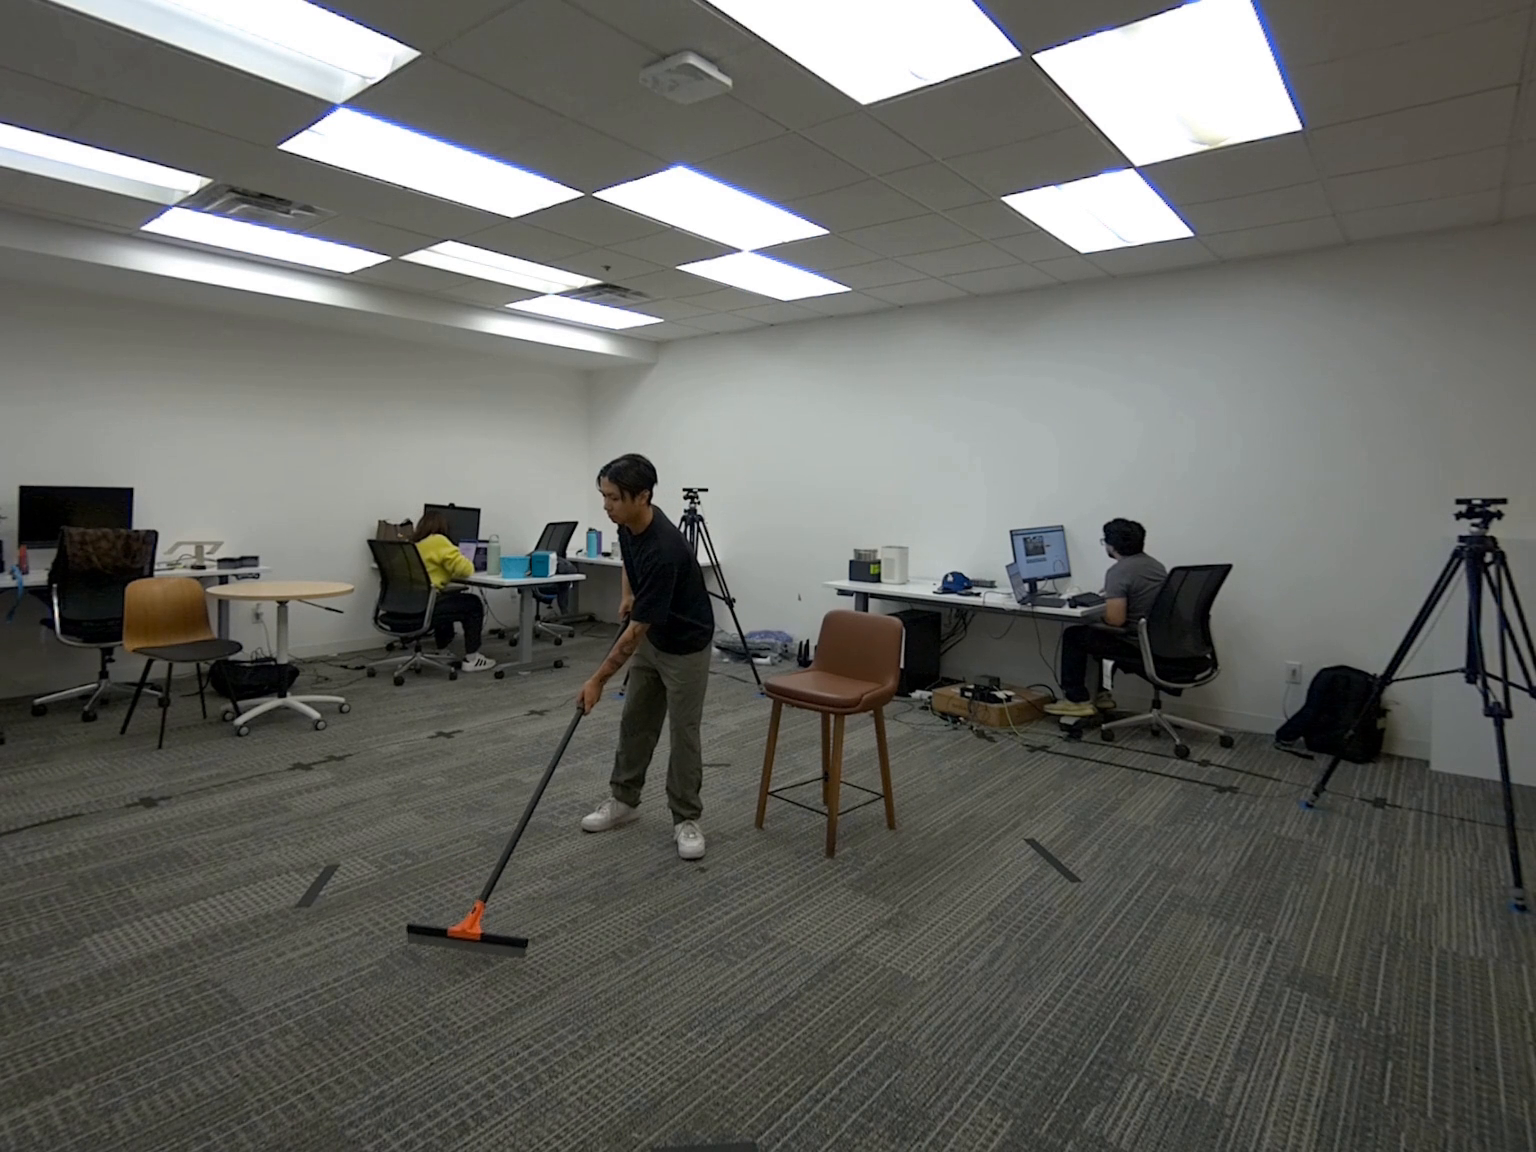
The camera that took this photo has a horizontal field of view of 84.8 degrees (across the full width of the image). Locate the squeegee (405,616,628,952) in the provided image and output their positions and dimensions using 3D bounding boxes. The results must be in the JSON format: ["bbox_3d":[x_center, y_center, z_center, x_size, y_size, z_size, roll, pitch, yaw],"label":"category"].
[{"bbox_3d":[-0.718,0.575,3.015,0.446,0.051,1.559,-5,37,20],"label":"squeegee"}]
